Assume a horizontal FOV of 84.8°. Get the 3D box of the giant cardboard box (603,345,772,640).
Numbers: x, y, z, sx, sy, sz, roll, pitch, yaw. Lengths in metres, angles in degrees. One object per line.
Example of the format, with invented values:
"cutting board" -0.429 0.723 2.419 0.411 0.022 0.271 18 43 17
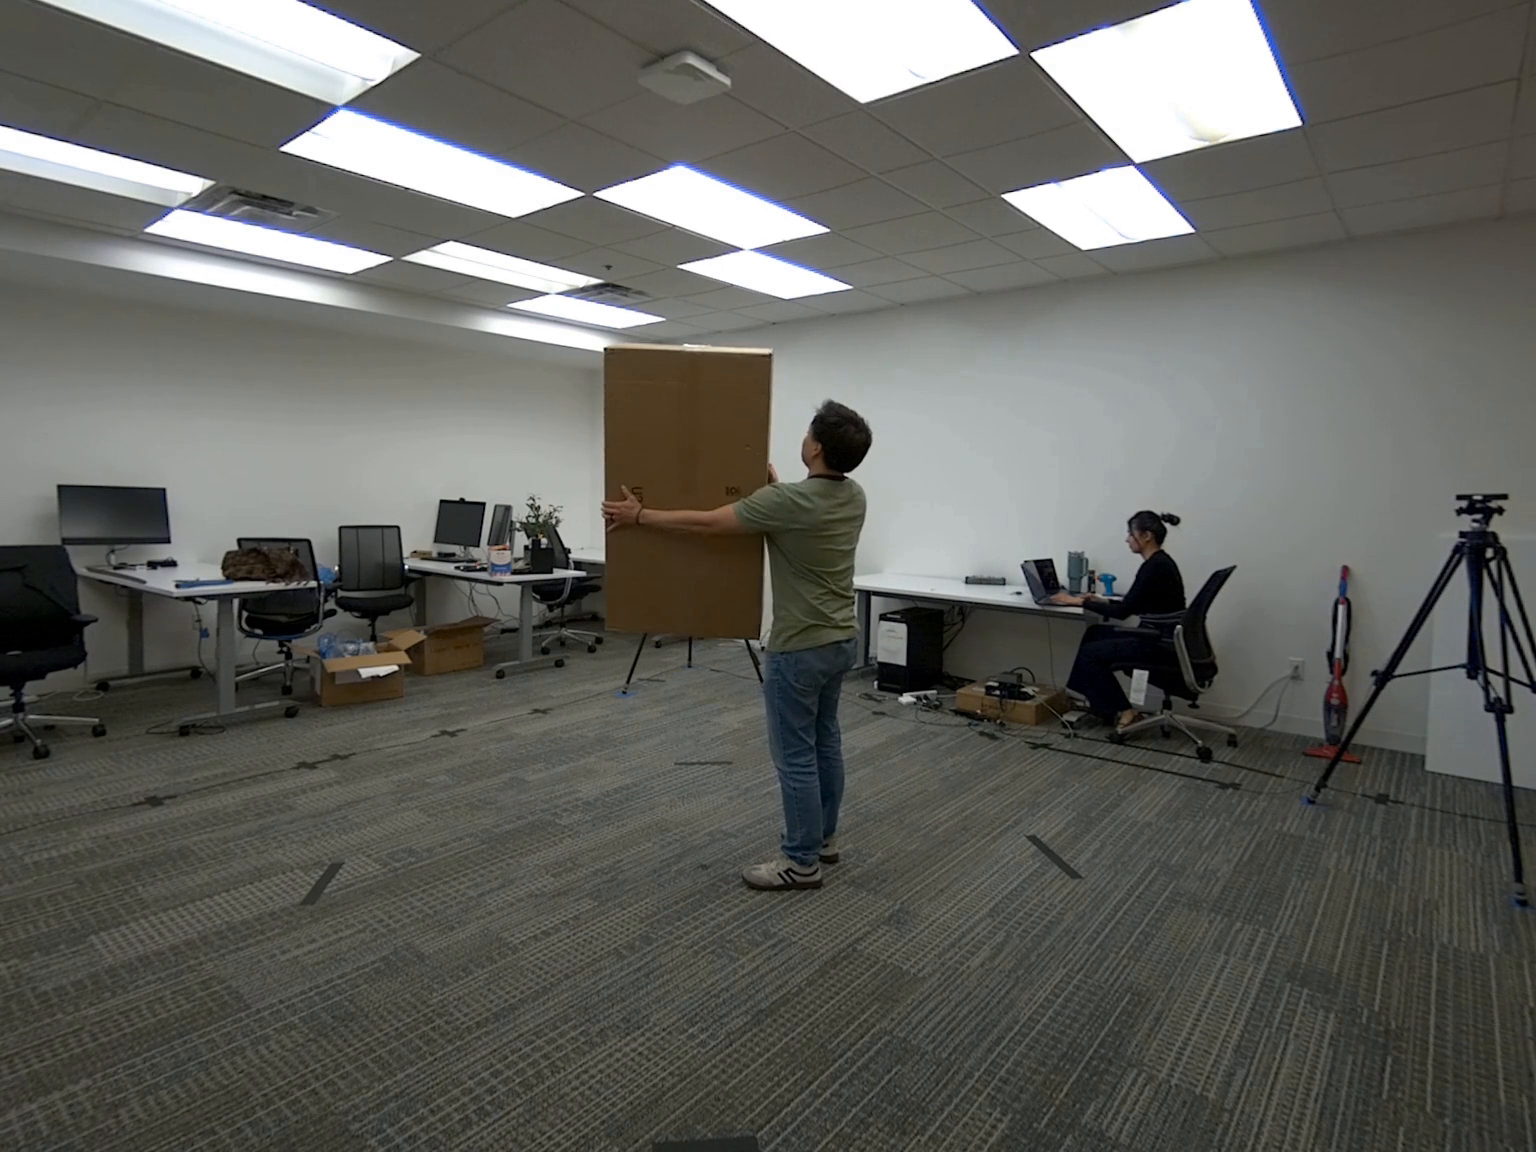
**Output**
"giant cardboard box" -0.294 -0.331 3.192 0.579 1.012 0.431 3 15 2
